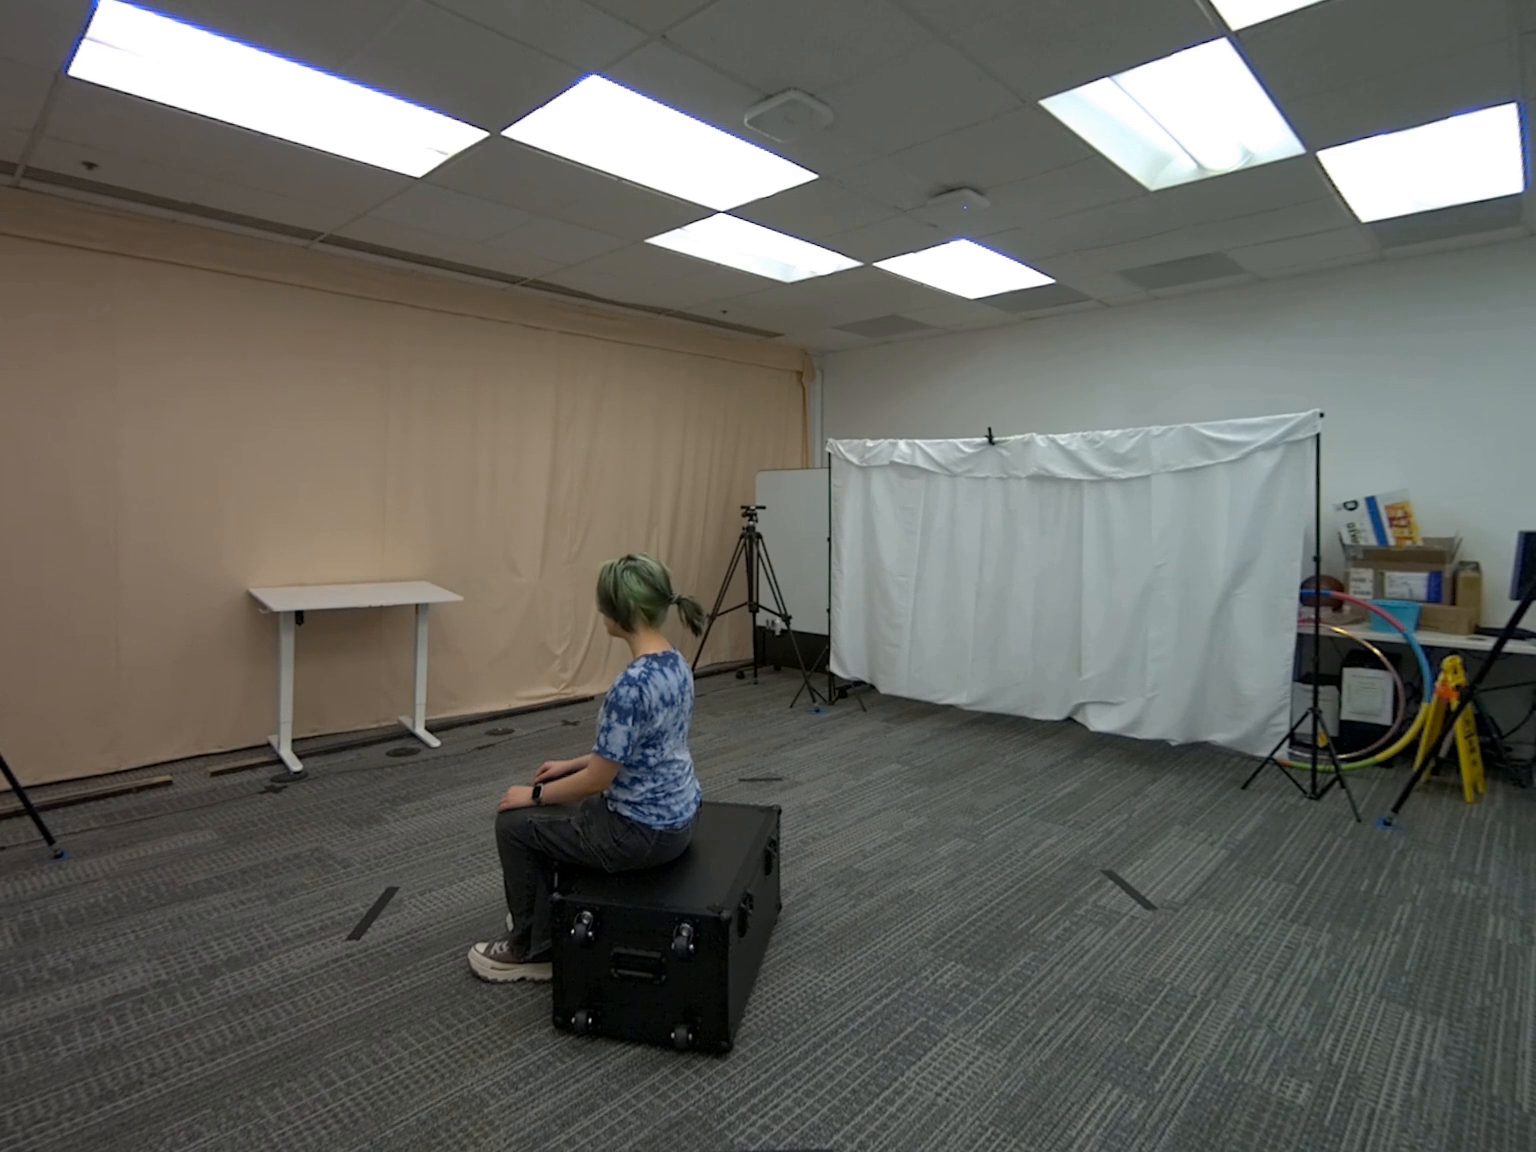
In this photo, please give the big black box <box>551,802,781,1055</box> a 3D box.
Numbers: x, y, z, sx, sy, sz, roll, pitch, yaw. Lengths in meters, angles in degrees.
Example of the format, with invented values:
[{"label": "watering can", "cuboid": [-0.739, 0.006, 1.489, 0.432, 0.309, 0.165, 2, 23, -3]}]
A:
[{"label": "big black box", "cuboid": [-0.264, 0.997, 2.495, 0.528, 0.395, 0.852, 1, 4, 11]}]
